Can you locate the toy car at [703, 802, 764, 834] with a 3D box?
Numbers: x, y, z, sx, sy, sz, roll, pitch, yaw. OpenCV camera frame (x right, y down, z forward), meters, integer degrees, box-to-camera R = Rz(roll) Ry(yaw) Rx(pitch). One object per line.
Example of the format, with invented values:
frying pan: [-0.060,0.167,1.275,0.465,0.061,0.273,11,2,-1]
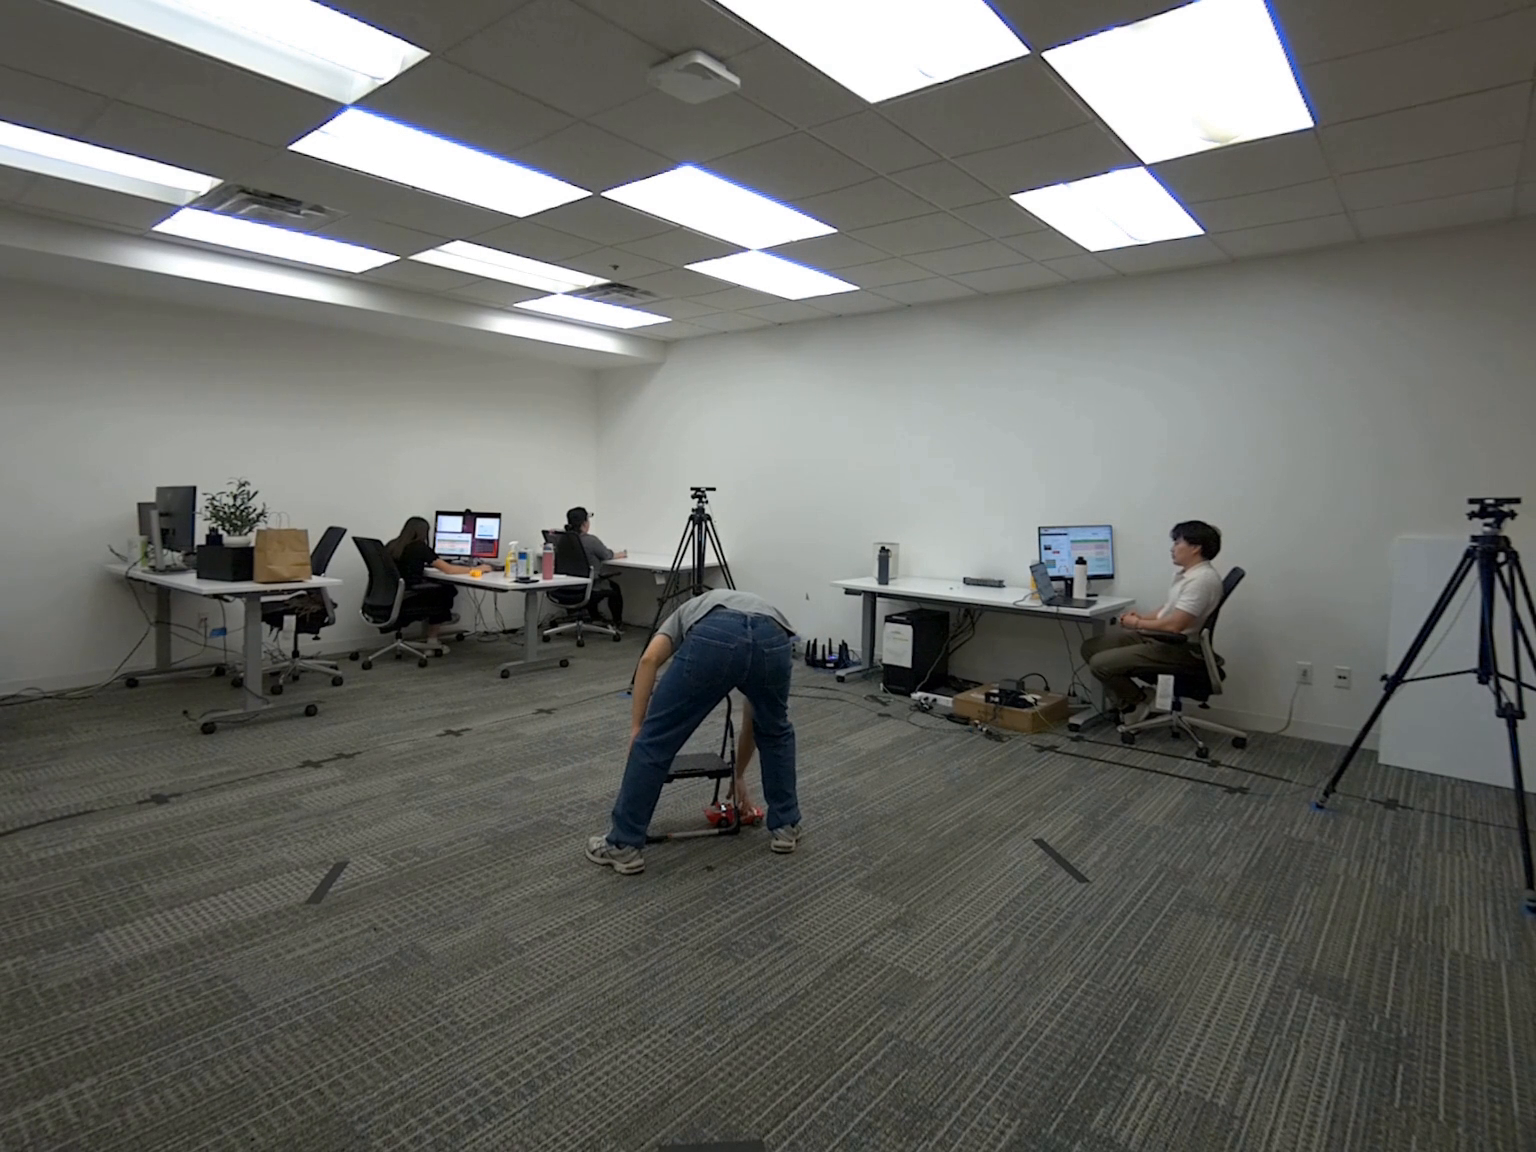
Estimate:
toy car: [-0.150,1.002,3.550,0.250,0.083,0.133,12,2,-15]
